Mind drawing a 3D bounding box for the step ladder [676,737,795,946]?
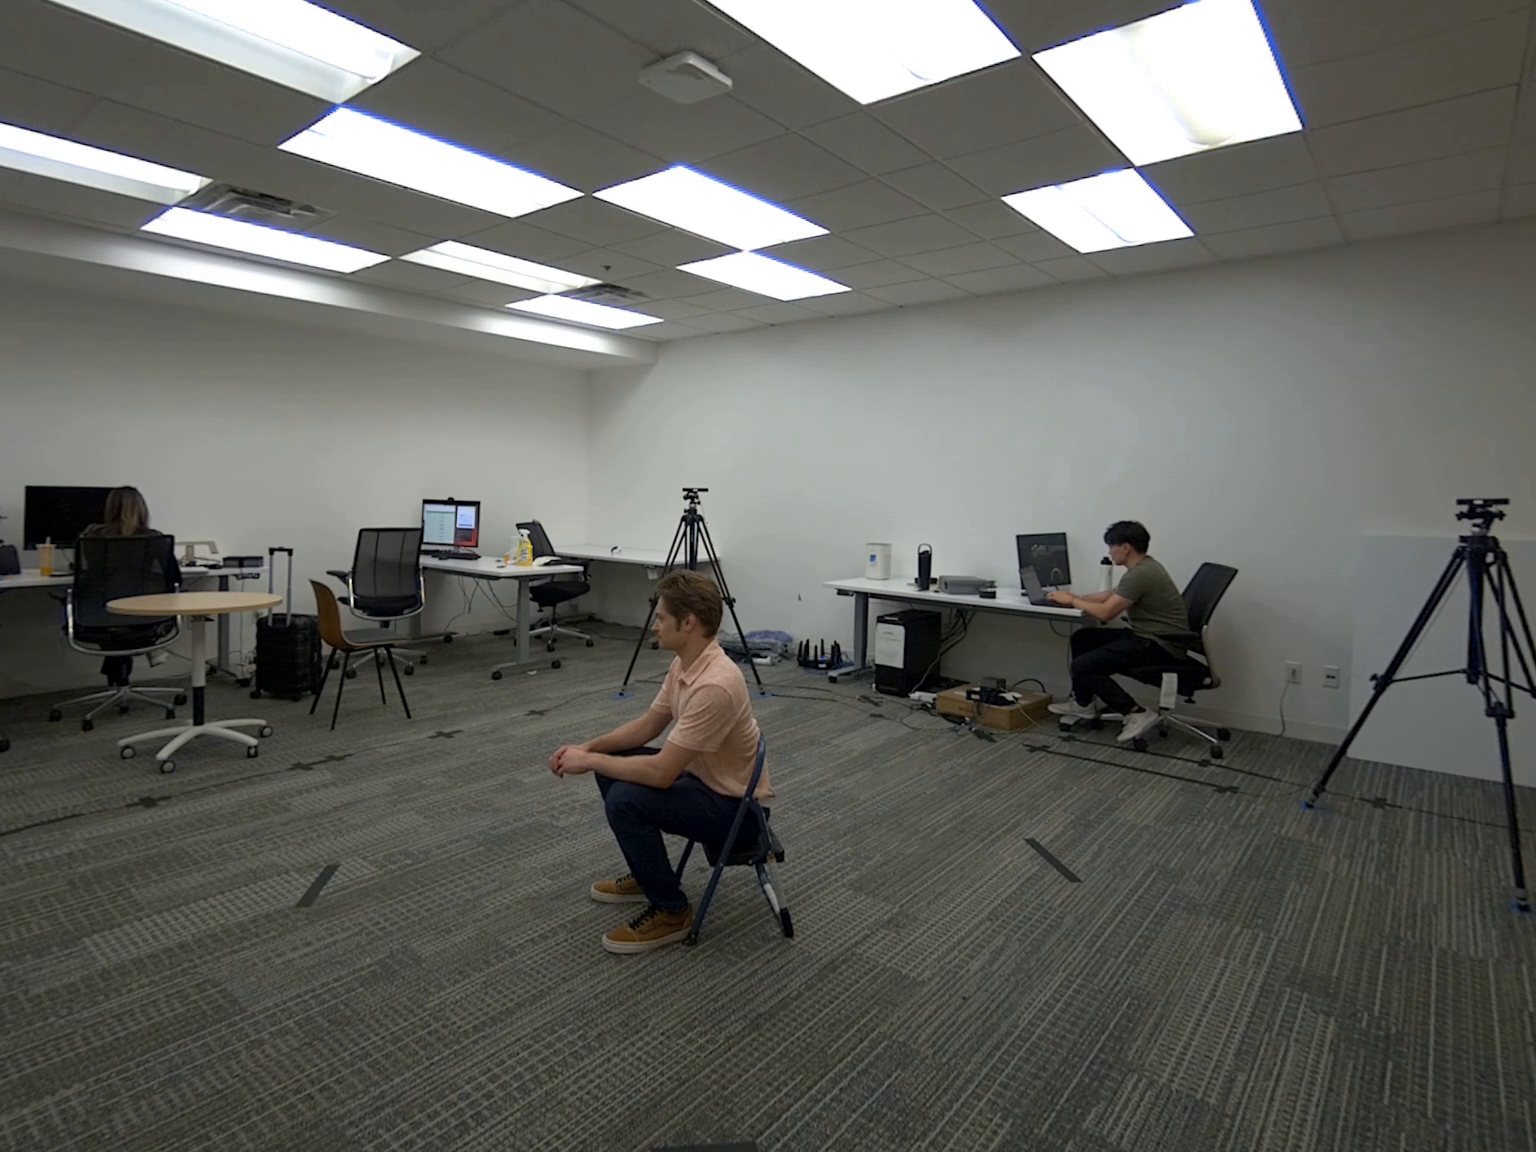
[{"bbox_3d":[-0.132,0.808,2.801,0.345,0.604,0.437,0,4,-12],"label":"step ladder"}]
